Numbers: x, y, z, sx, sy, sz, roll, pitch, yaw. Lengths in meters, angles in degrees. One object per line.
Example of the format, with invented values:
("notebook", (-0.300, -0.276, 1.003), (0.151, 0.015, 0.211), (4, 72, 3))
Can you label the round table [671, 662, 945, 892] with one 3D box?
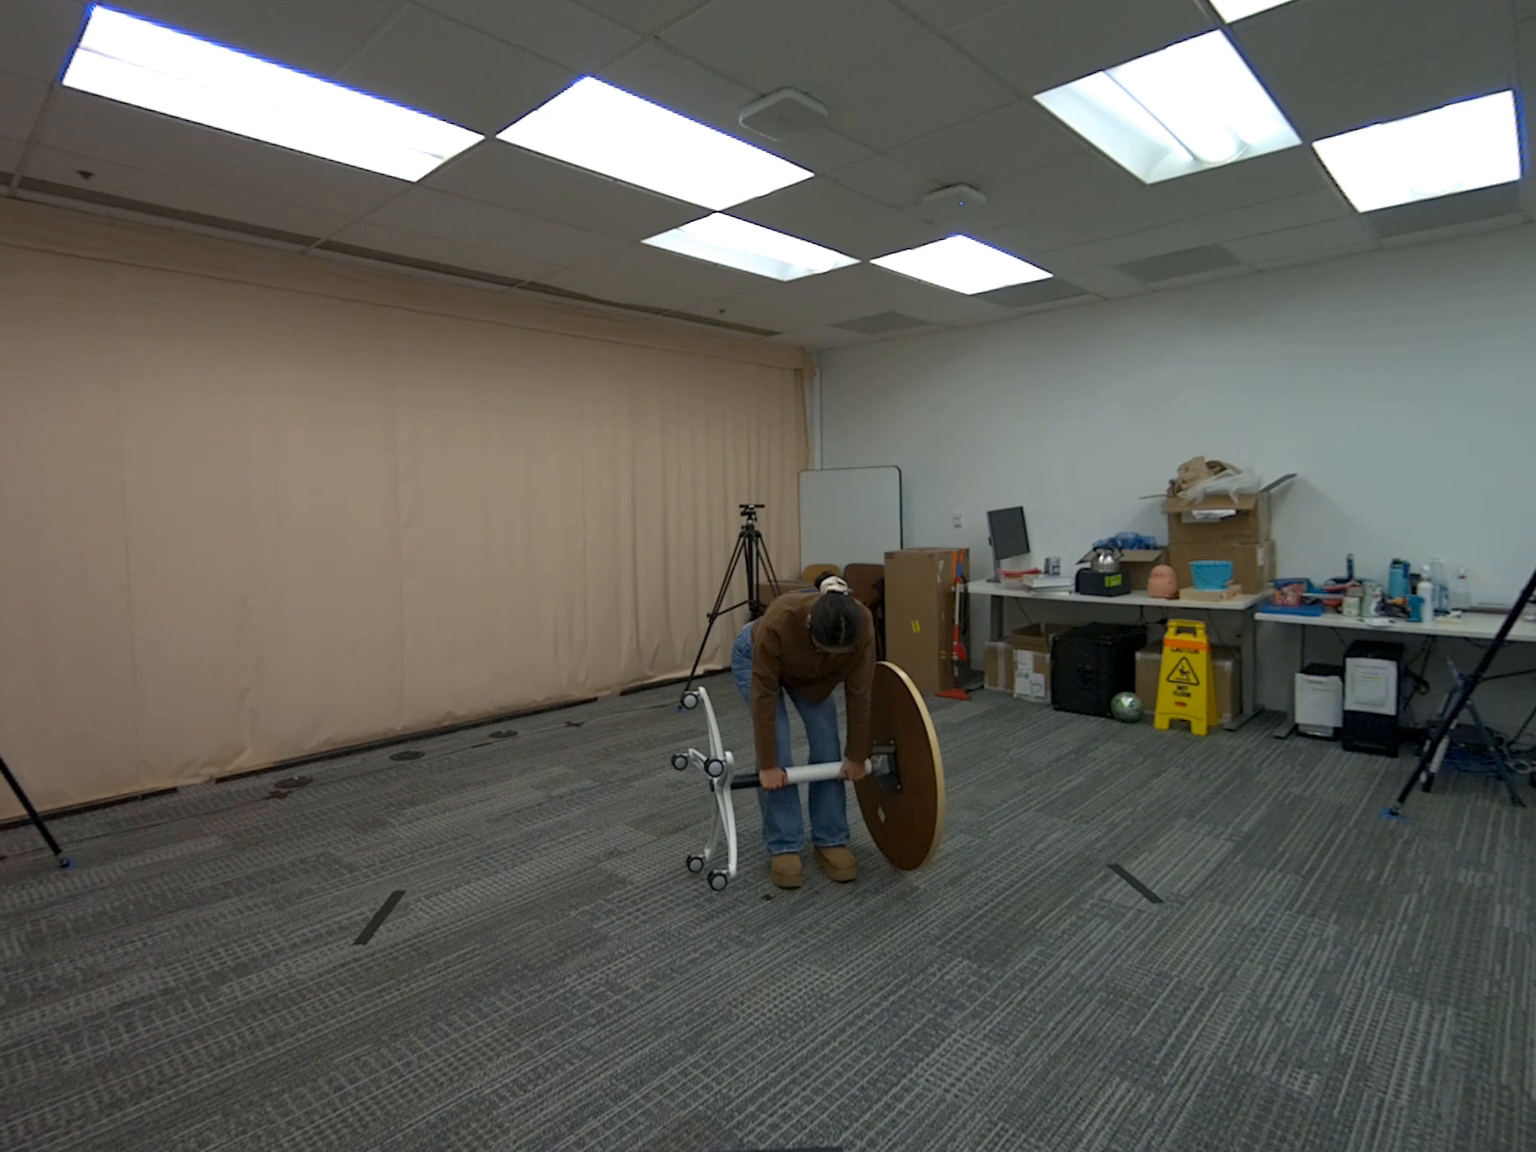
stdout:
("round table", (0.097, 0.746, 3.111), (0.782, 0.762, 0.778), (-4, 5, -15))
